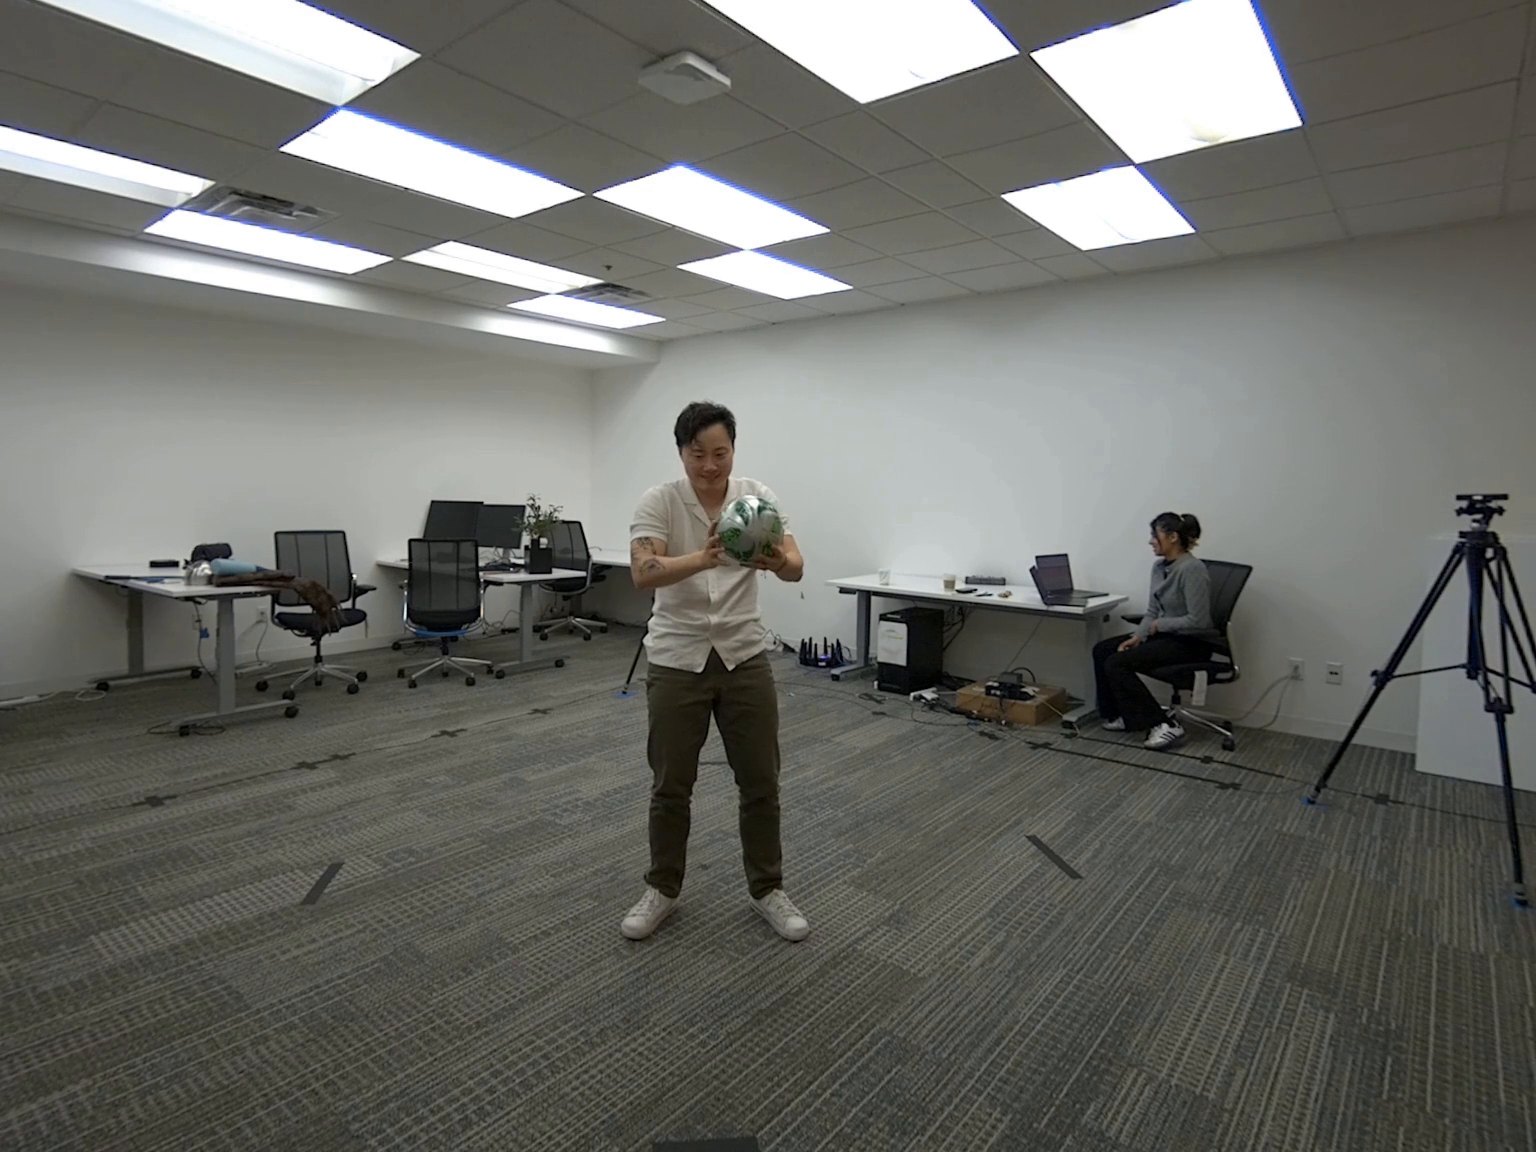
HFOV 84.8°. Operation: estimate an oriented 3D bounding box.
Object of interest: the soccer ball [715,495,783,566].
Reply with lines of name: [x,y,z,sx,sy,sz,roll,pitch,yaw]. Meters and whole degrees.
soccer ball: [-0.060,-0.131,2.334,0.187,0.187,0.188,1,4,-2]
